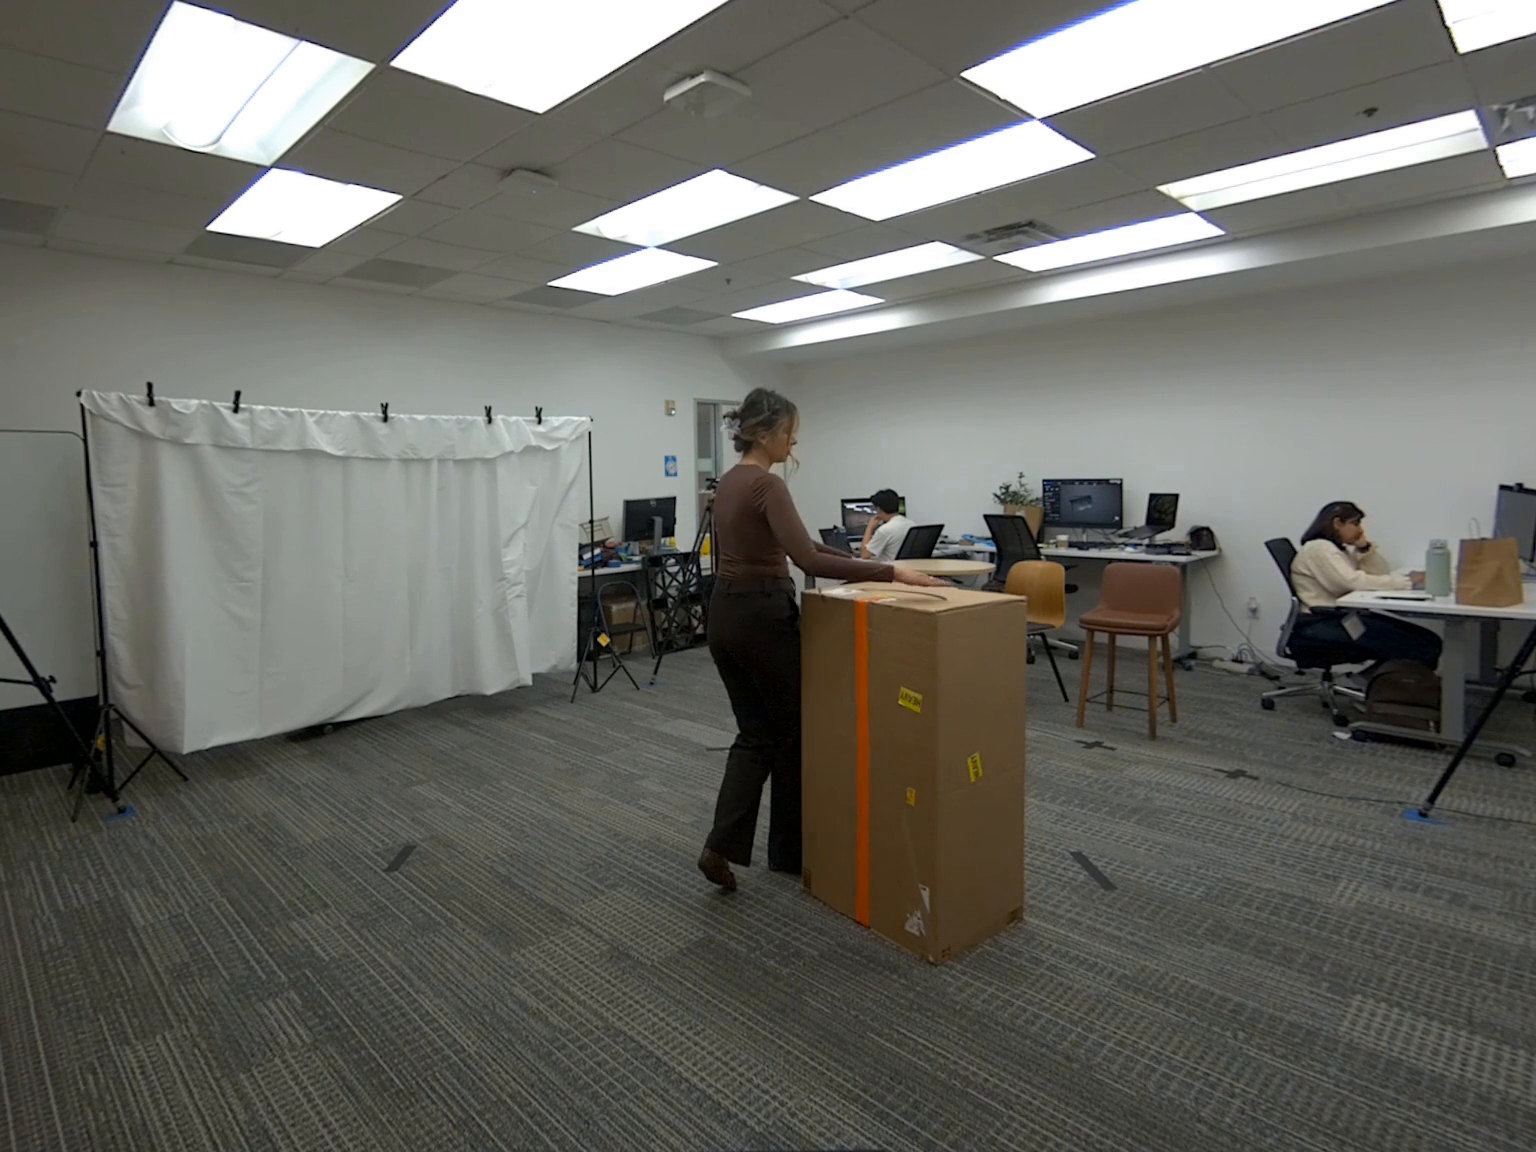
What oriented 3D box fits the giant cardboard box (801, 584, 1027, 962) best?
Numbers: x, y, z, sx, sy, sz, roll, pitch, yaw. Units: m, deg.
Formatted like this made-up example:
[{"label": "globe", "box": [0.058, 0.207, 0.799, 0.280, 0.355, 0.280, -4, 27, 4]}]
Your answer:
[{"label": "giant cardboard box", "box": [0.460, 0.563, 2.743, 0.435, 1.023, 0.601, -4, 6, -36]}]
